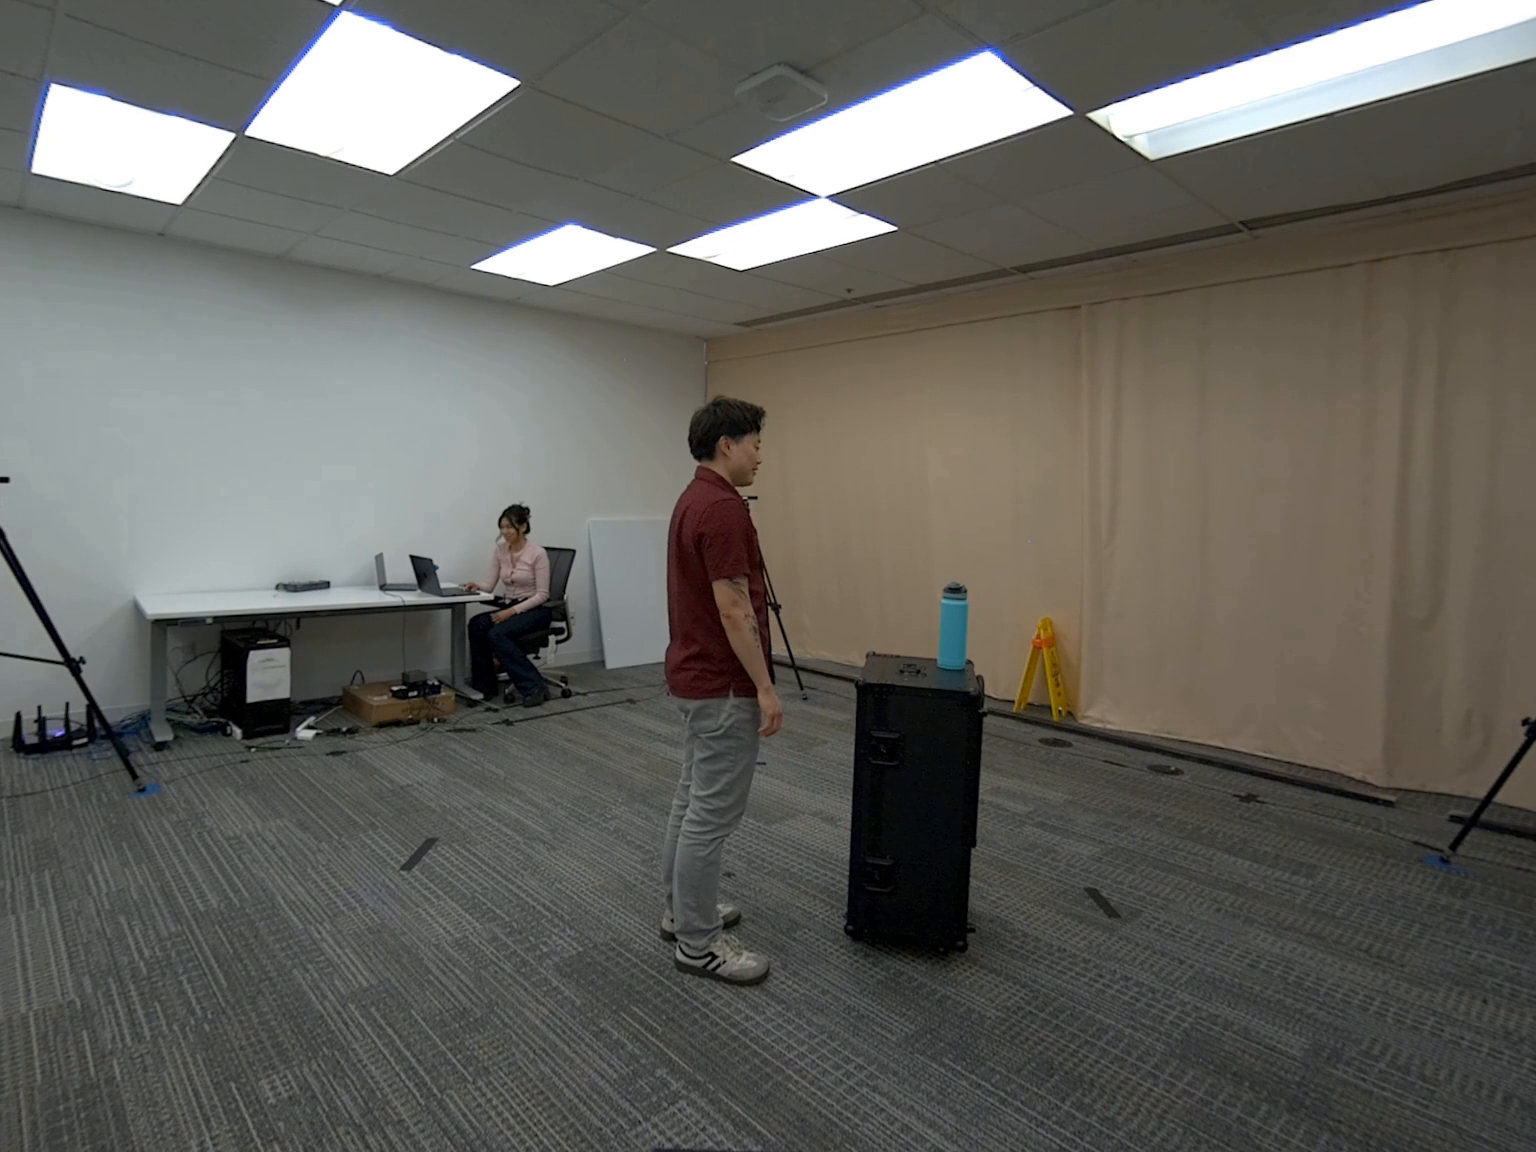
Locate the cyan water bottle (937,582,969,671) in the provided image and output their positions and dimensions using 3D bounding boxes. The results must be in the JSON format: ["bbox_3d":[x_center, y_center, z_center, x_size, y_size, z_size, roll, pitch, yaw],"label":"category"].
[{"bbox_3d":[0.604,0.163,2.777,0.092,0.282,0.092,3,4,-2],"label":"cyan water bottle"}]
